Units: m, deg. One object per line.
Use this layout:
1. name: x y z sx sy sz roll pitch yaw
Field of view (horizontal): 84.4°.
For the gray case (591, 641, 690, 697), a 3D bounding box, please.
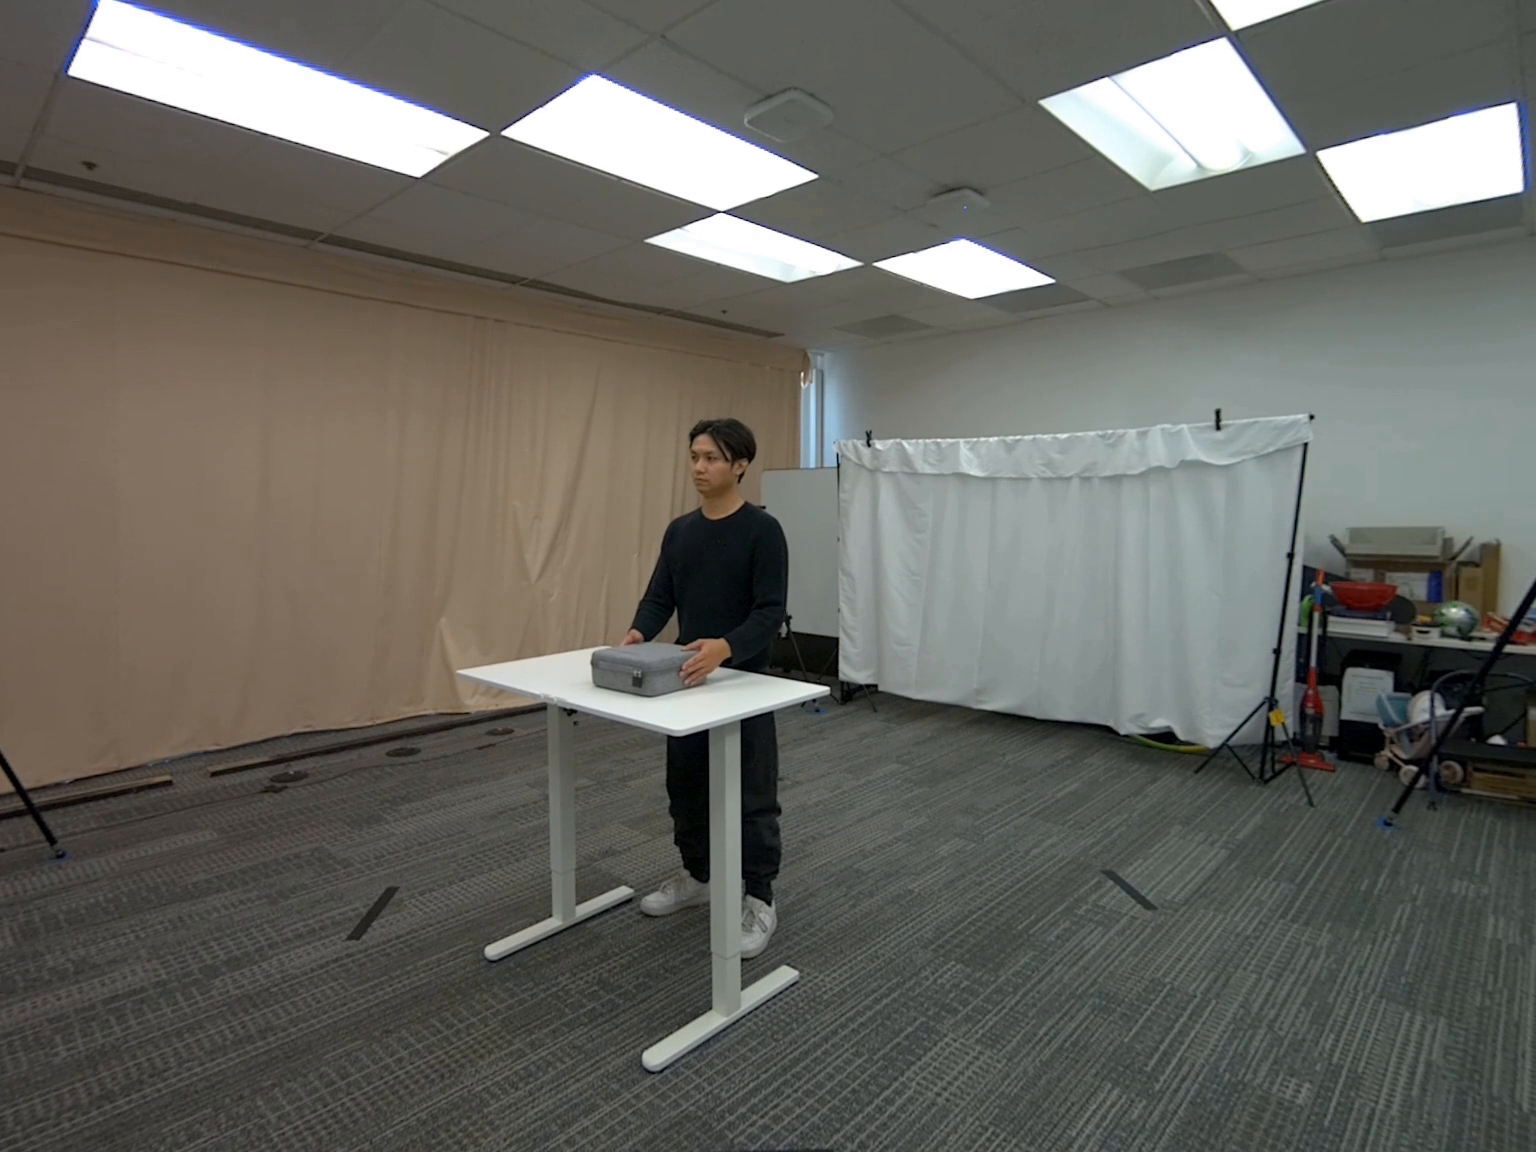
1. gray case: -0.341 0.260 2.407 0.265 0.104 0.253 3 6 40
